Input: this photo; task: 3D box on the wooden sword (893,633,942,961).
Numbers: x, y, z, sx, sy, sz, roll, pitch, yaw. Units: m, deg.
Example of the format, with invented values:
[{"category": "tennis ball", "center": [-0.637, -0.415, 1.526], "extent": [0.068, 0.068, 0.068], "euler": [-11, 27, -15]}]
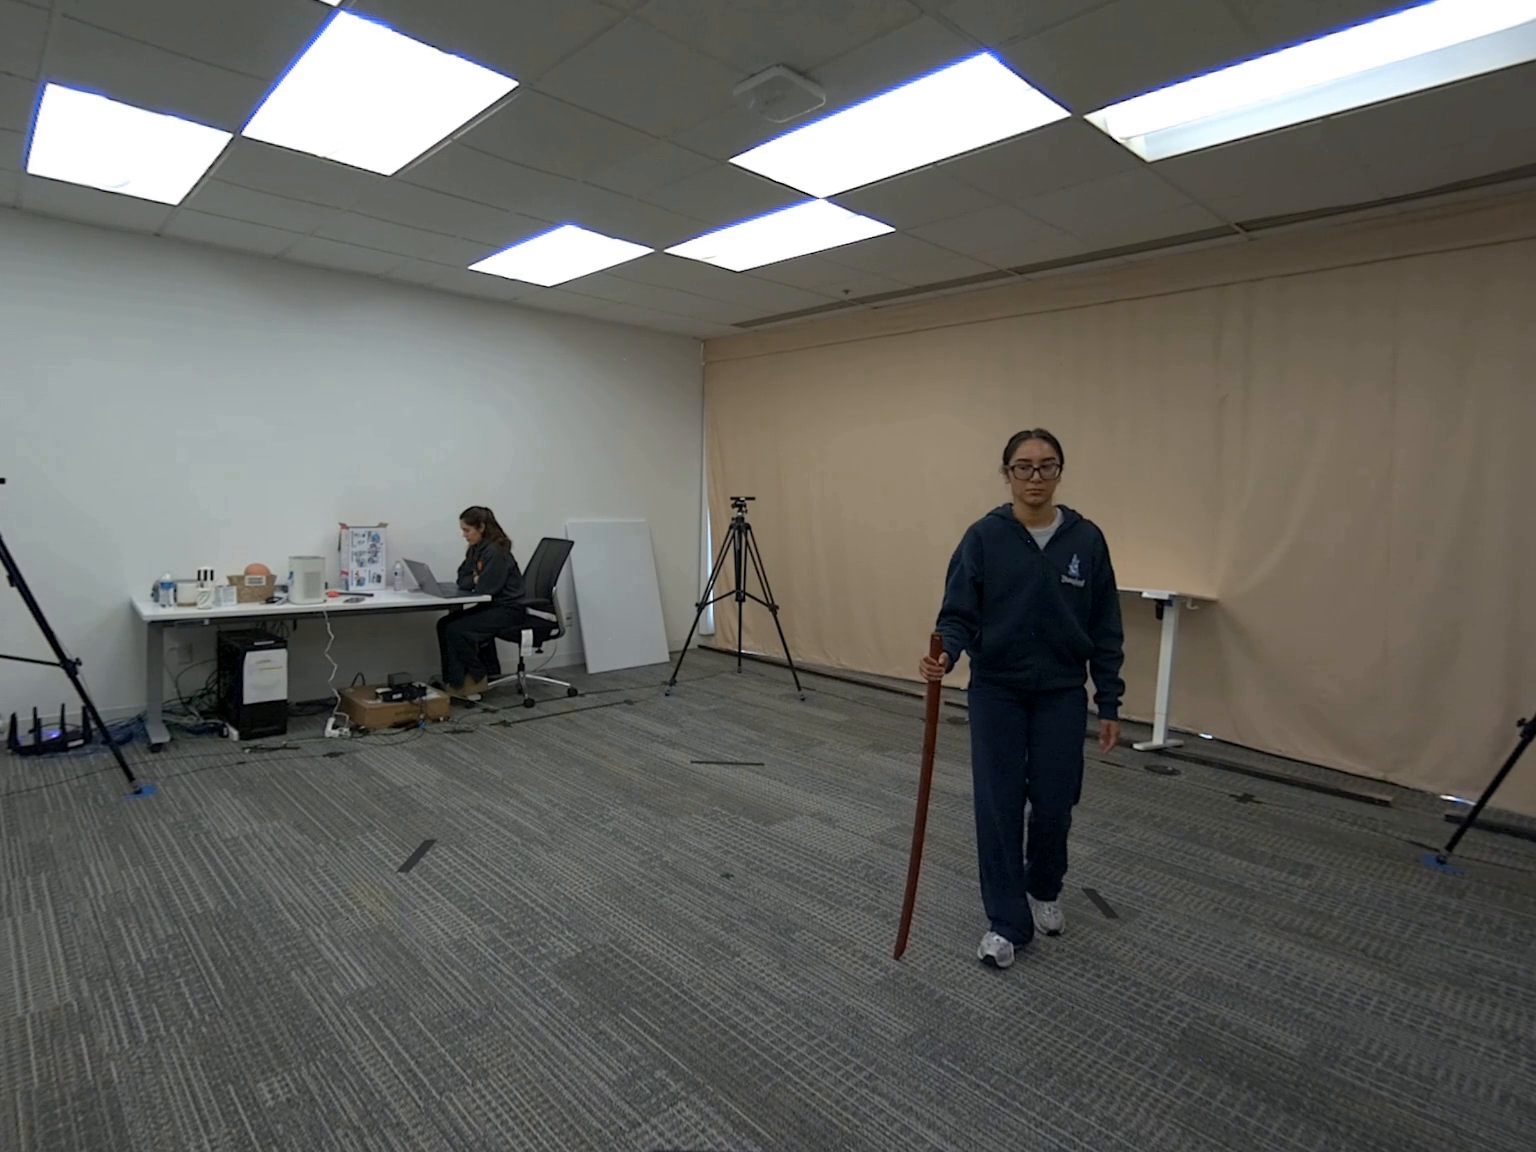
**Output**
[{"category": "wooden sword", "center": [0.440, 0.679, 2.496], "extent": [0.052, 1.019, 0.024], "euler": [6, 8, 19]}]
